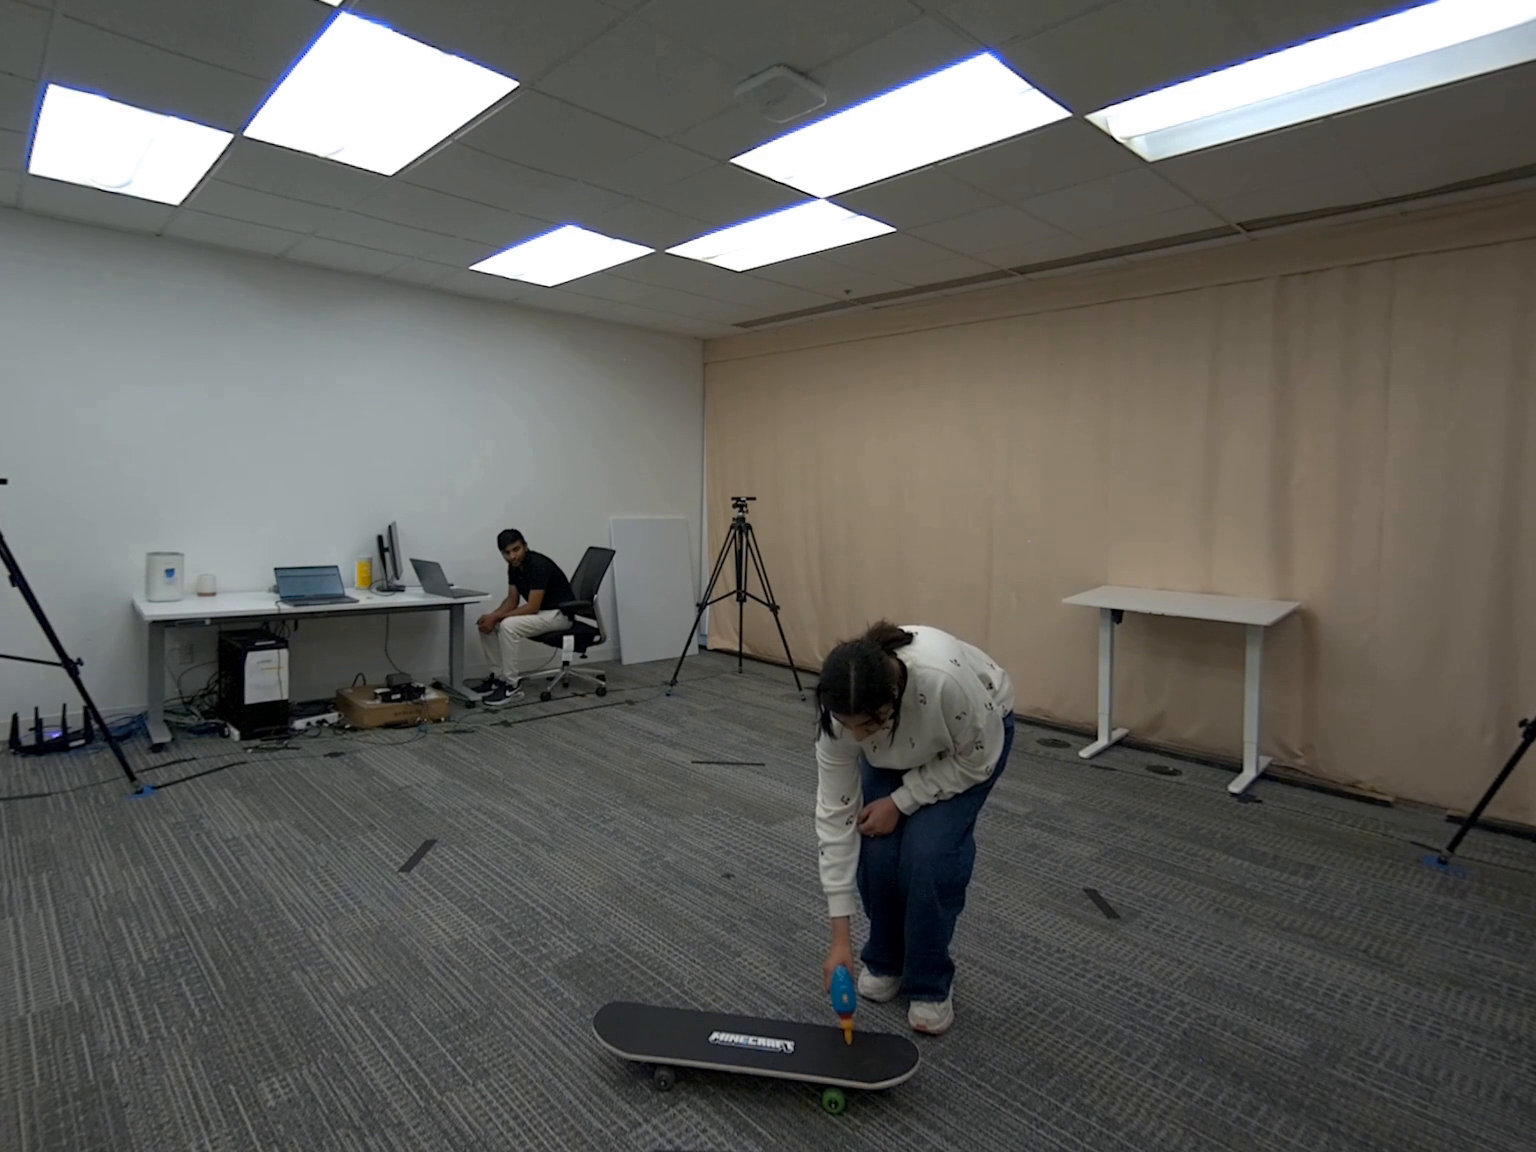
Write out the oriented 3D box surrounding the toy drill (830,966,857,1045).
[{"bbox_3d":[0.173,1.052,2.067,0.061,0.172,0.144,-9,-14,-4],"label":"toy drill"}]
